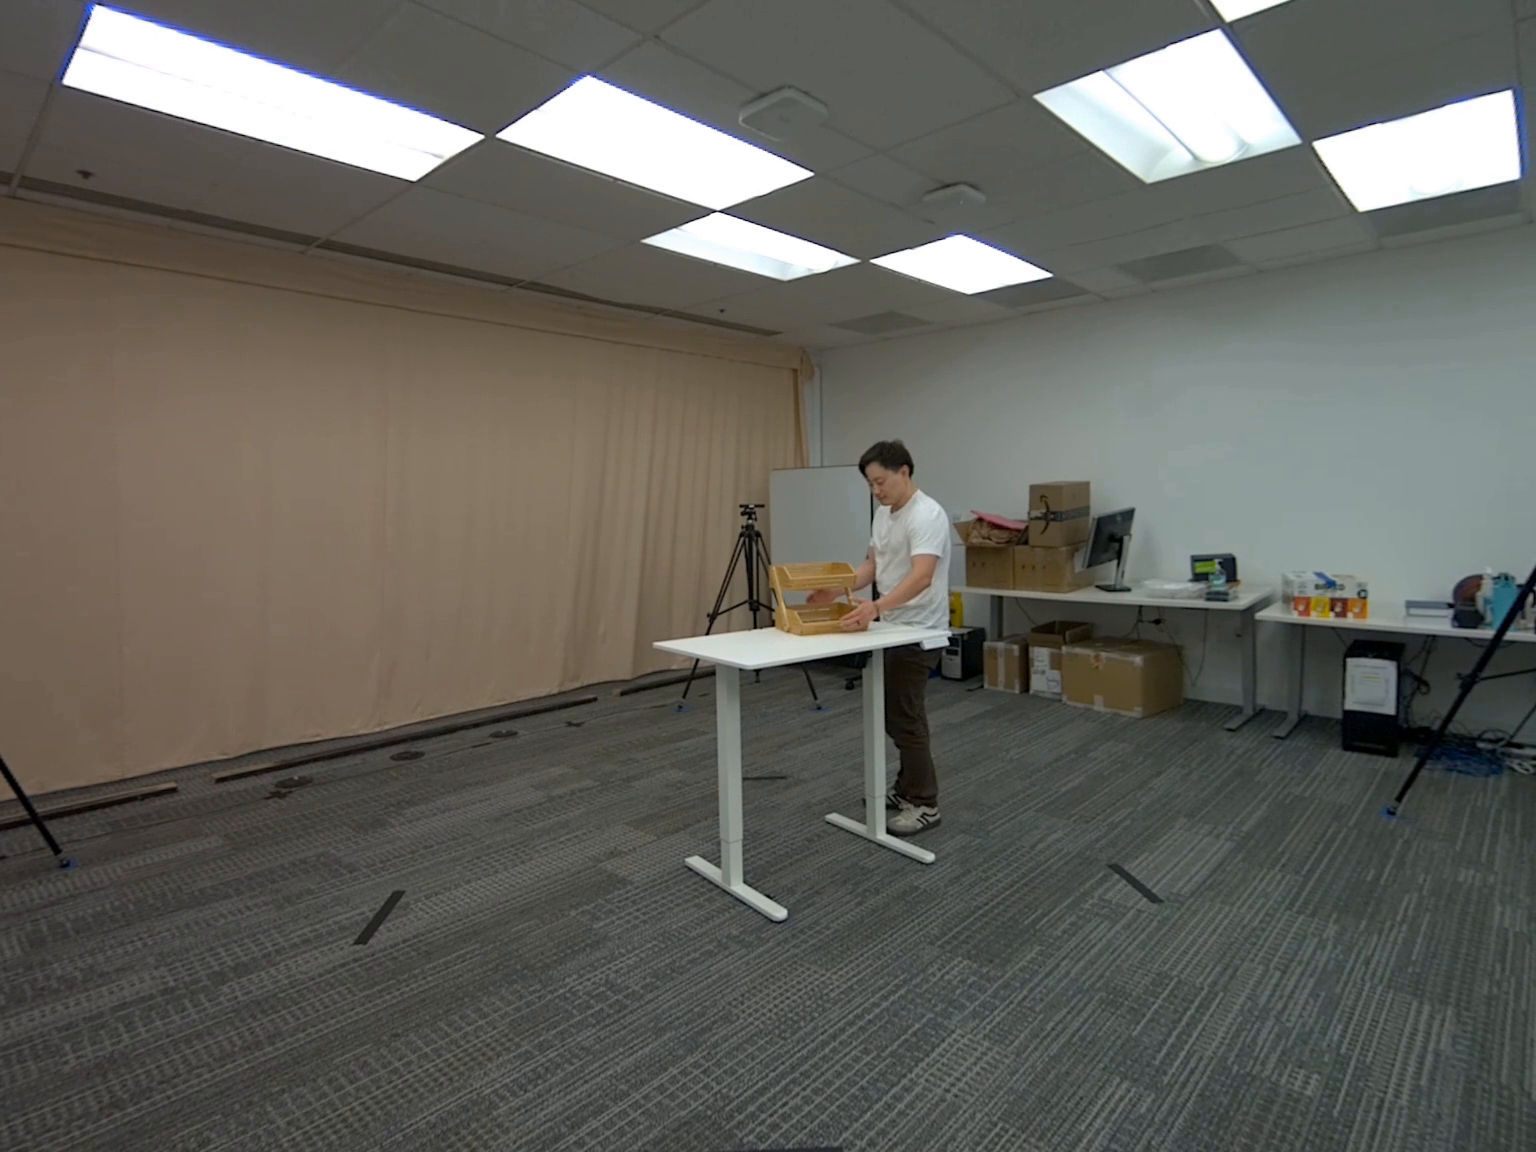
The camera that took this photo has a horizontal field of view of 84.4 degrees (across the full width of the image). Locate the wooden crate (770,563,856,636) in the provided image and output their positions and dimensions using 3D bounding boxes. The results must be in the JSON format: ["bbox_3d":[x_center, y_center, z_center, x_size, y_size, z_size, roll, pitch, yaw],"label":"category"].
[{"bbox_3d":[0.218,0.083,3.426,0.317,0.273,0.309,-2,3,-22],"label":"wooden crate"}]
